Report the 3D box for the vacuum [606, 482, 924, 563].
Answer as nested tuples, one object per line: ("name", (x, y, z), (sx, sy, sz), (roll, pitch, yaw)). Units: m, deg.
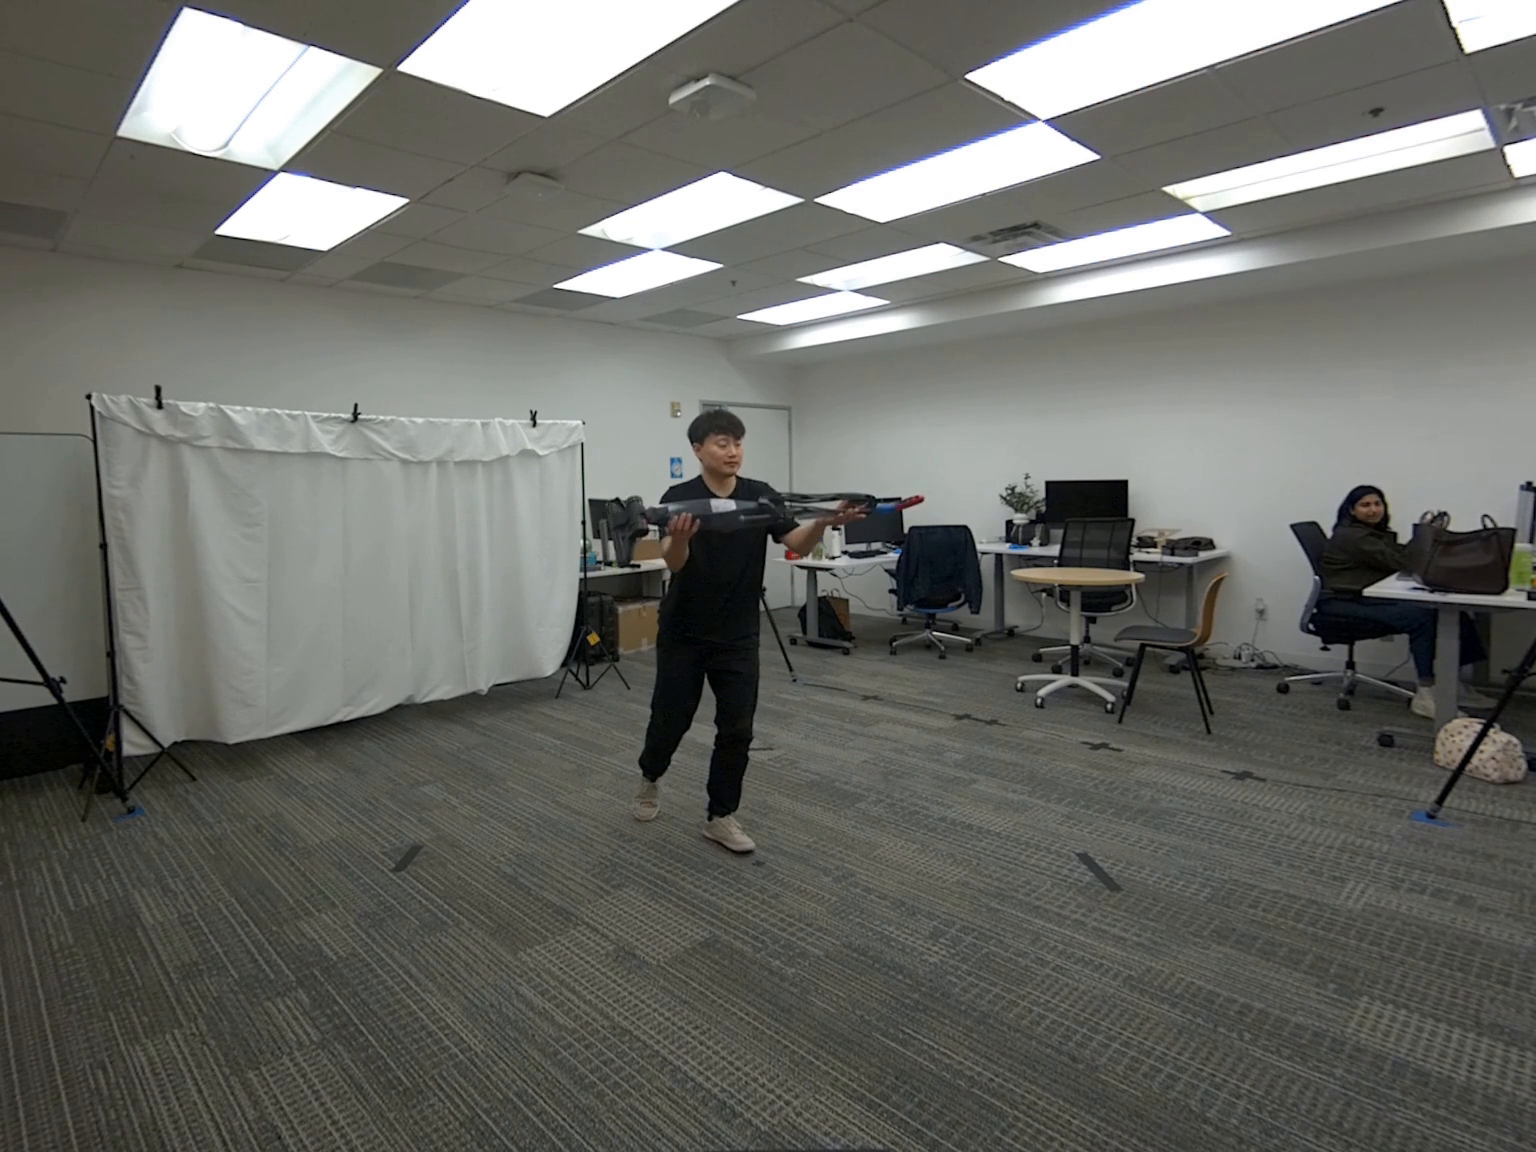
("vacuum", (0.033, -0.214, 2.845), (1.037, 0.261, 0.141), (-8, -36, -13))
